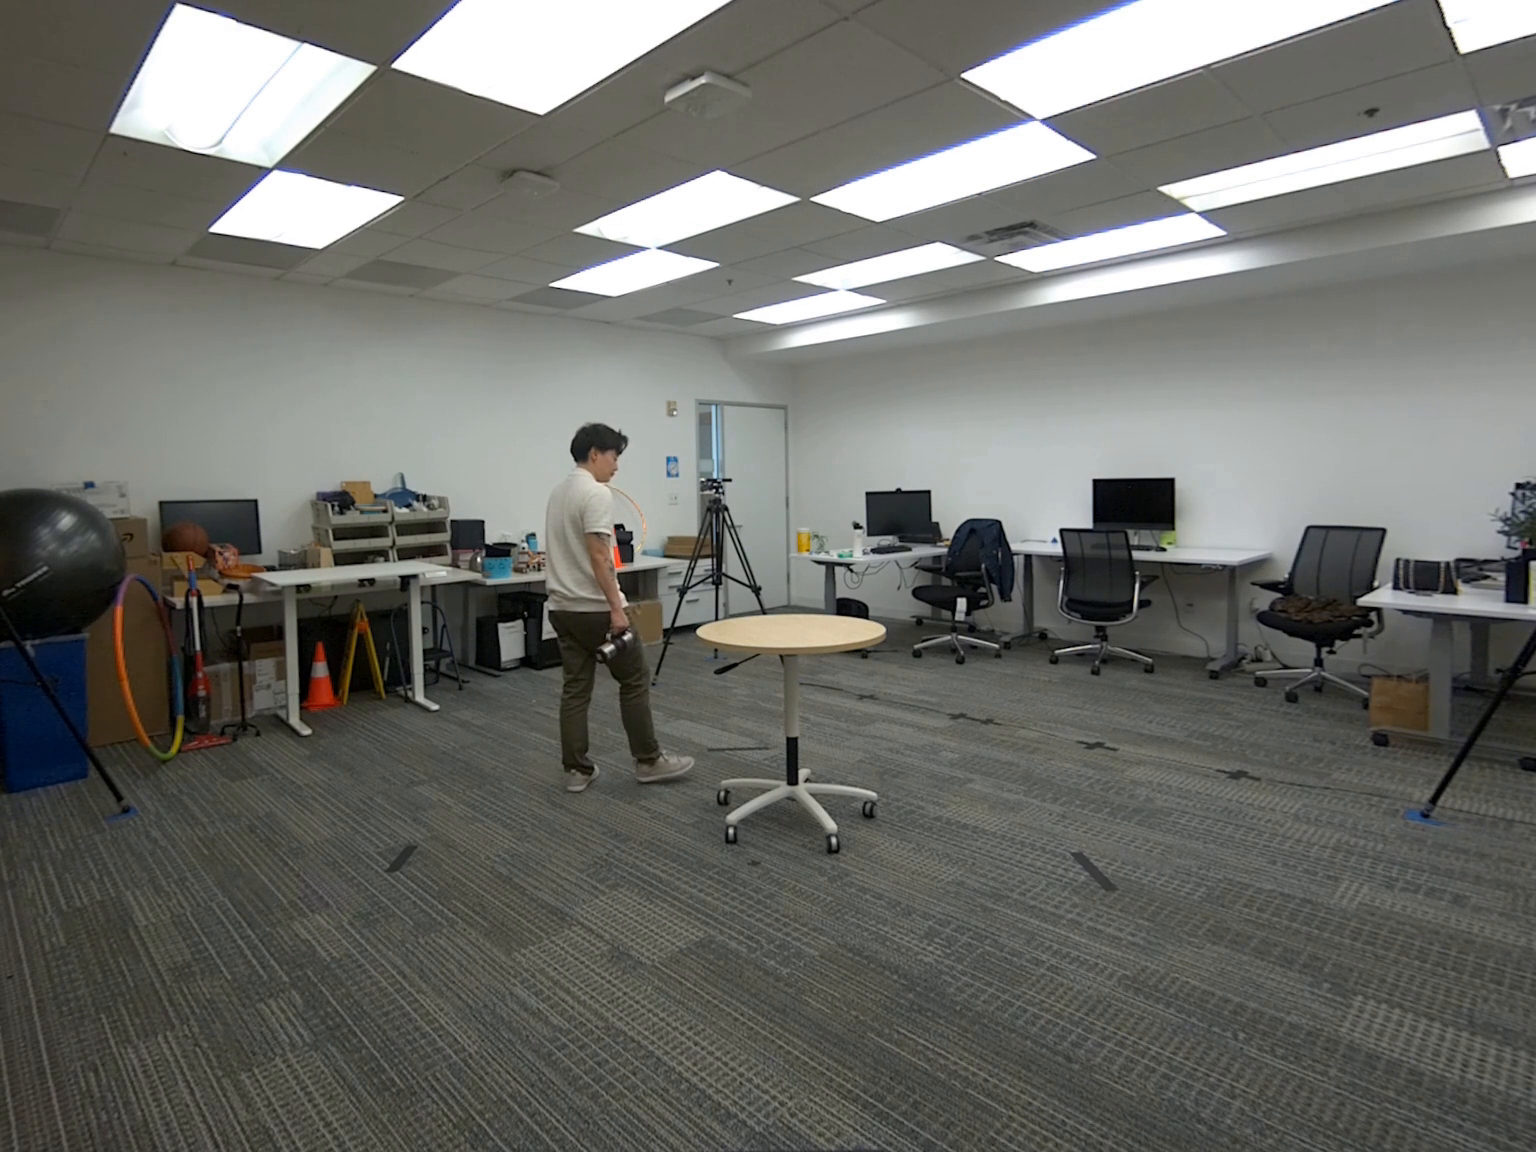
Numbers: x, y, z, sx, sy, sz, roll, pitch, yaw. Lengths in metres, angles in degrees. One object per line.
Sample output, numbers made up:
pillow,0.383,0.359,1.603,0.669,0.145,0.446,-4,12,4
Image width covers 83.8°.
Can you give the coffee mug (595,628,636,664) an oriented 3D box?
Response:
coffee mug,-0.662,0.281,3.708,0.091,0.119,0.200,9,27,36
